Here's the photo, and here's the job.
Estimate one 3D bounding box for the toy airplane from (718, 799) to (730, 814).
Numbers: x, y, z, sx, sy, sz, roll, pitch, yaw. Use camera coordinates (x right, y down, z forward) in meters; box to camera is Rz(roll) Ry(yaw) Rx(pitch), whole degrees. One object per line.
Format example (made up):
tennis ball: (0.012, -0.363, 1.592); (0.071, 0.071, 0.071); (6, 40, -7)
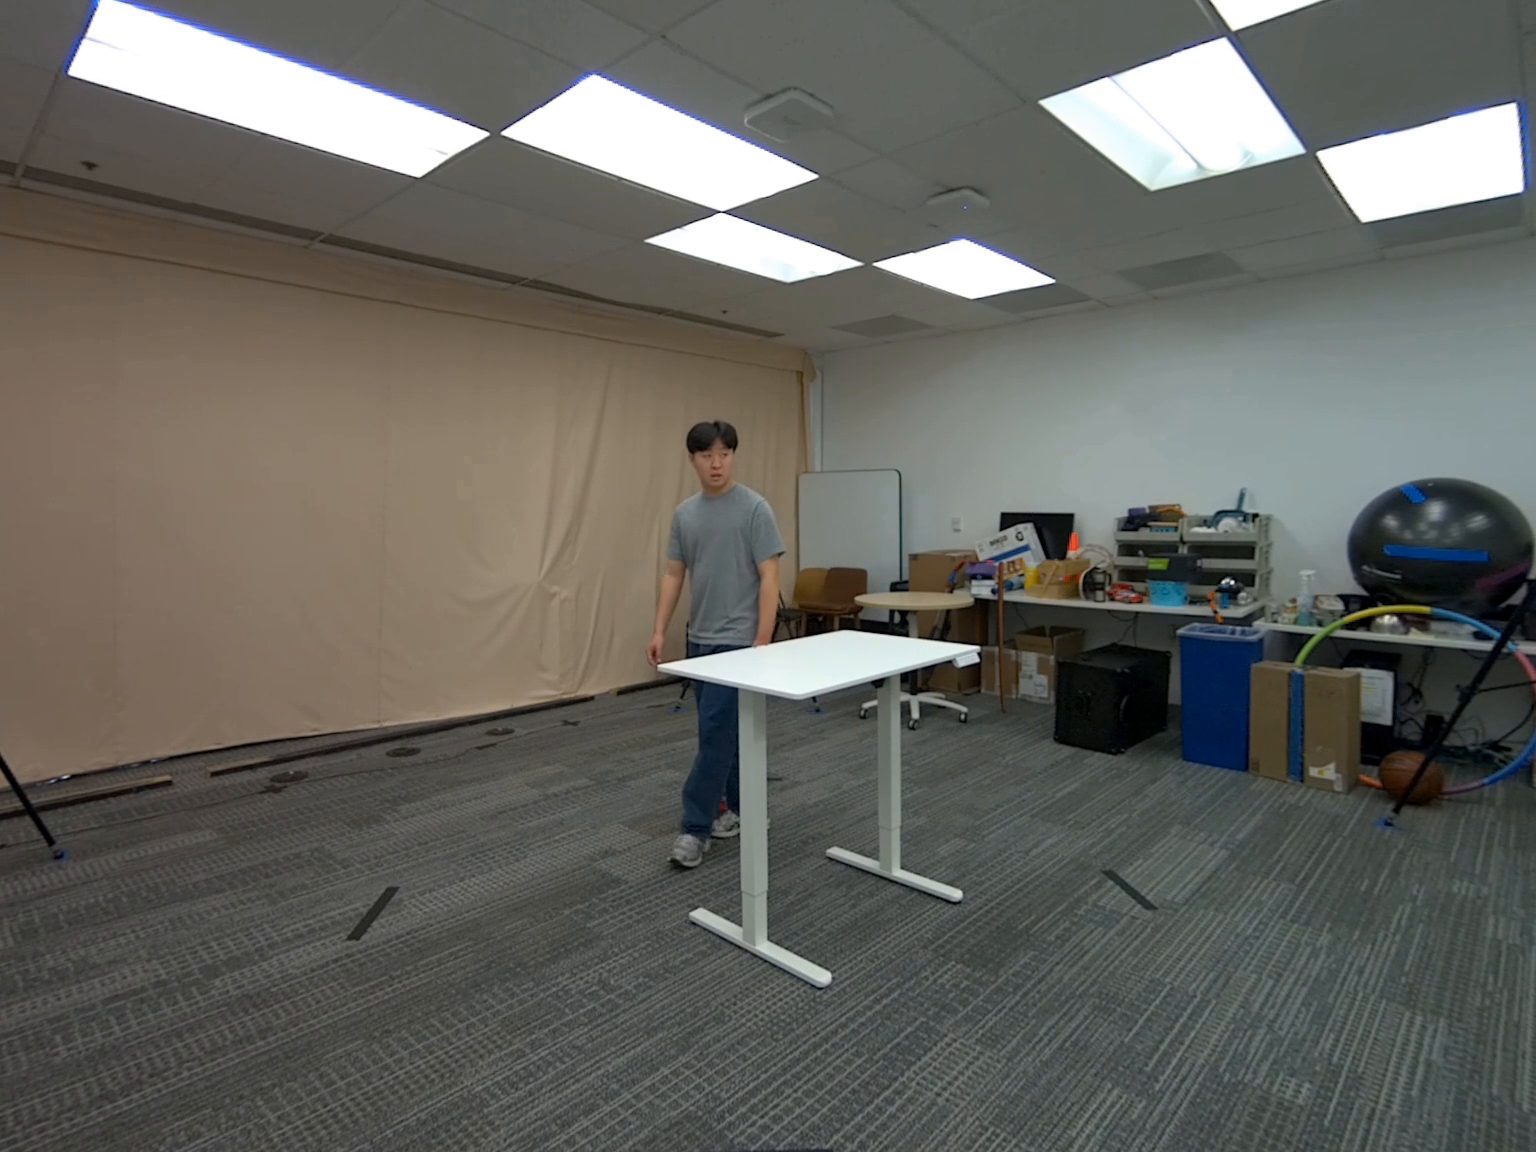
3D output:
toy airplane: (-0.206, 1.001, 3.842); (0.251, 0.156, 0.259); (-5, 6, -42)
